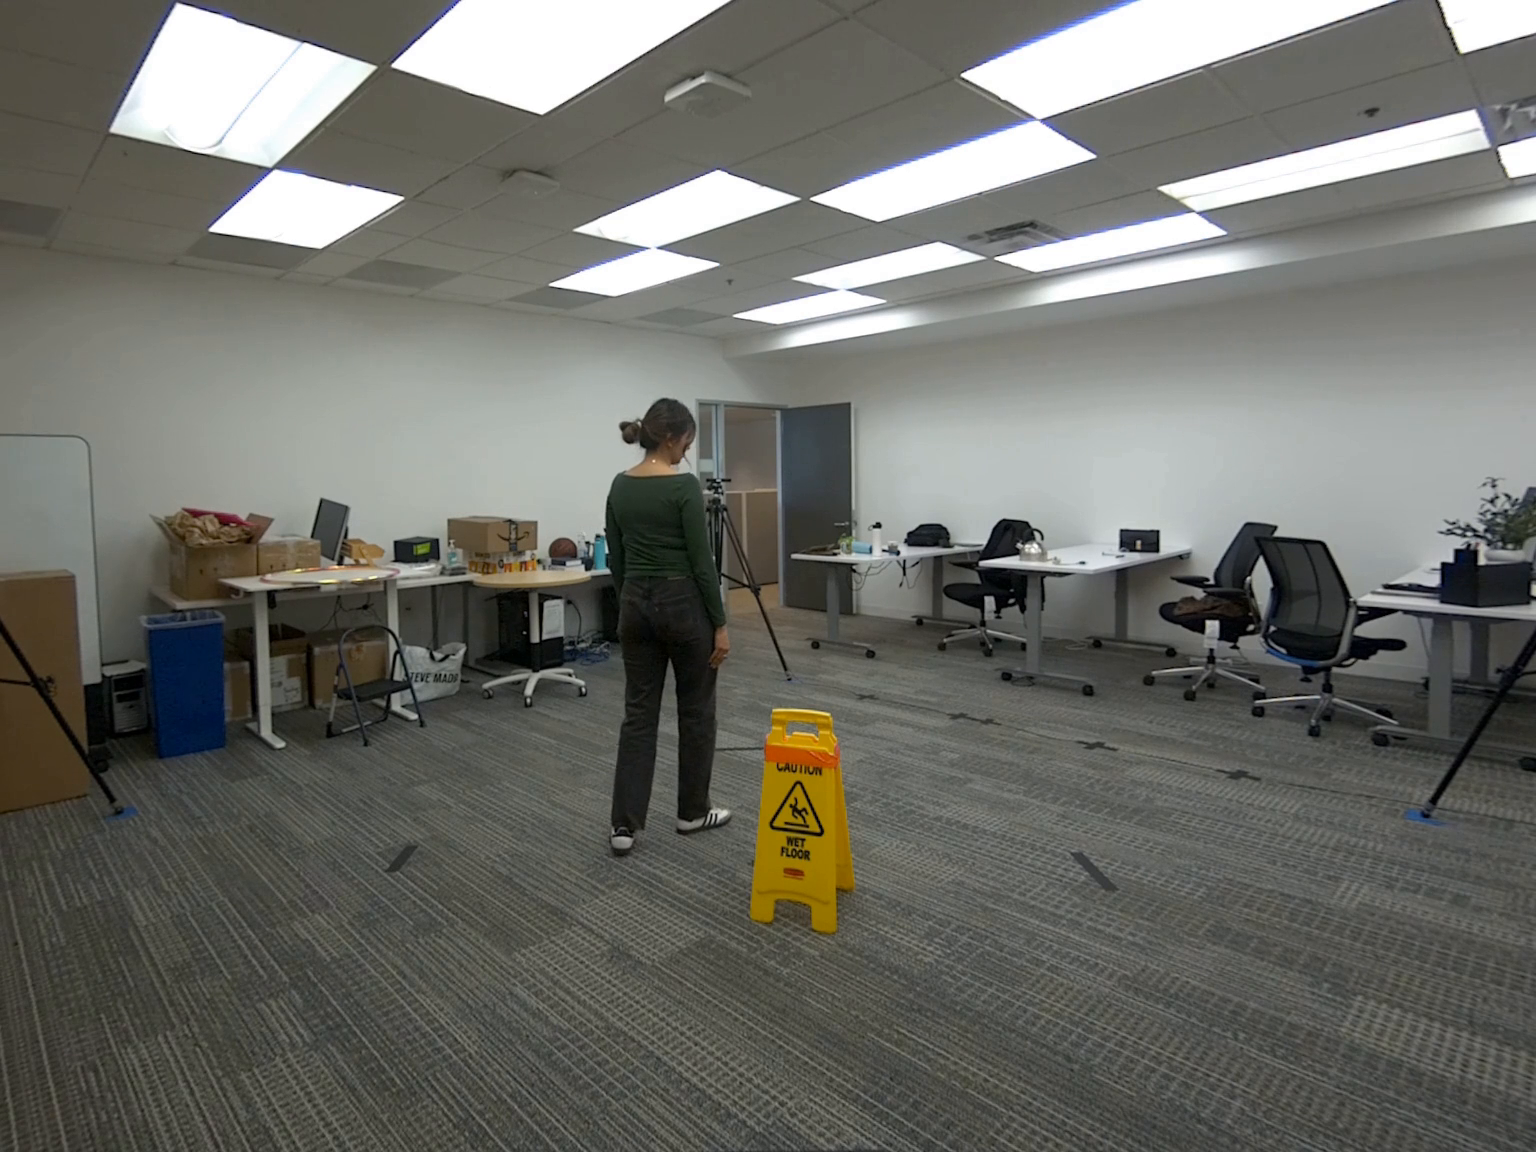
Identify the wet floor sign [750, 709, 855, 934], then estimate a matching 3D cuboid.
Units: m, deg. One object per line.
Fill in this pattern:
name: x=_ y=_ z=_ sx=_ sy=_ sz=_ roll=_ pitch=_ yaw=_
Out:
wet floor sign: x=0.118 y=0.756 z=2.782 sx=0.288 sy=0.644 sz=0.285 roll=2 pitch=4 yaw=19
